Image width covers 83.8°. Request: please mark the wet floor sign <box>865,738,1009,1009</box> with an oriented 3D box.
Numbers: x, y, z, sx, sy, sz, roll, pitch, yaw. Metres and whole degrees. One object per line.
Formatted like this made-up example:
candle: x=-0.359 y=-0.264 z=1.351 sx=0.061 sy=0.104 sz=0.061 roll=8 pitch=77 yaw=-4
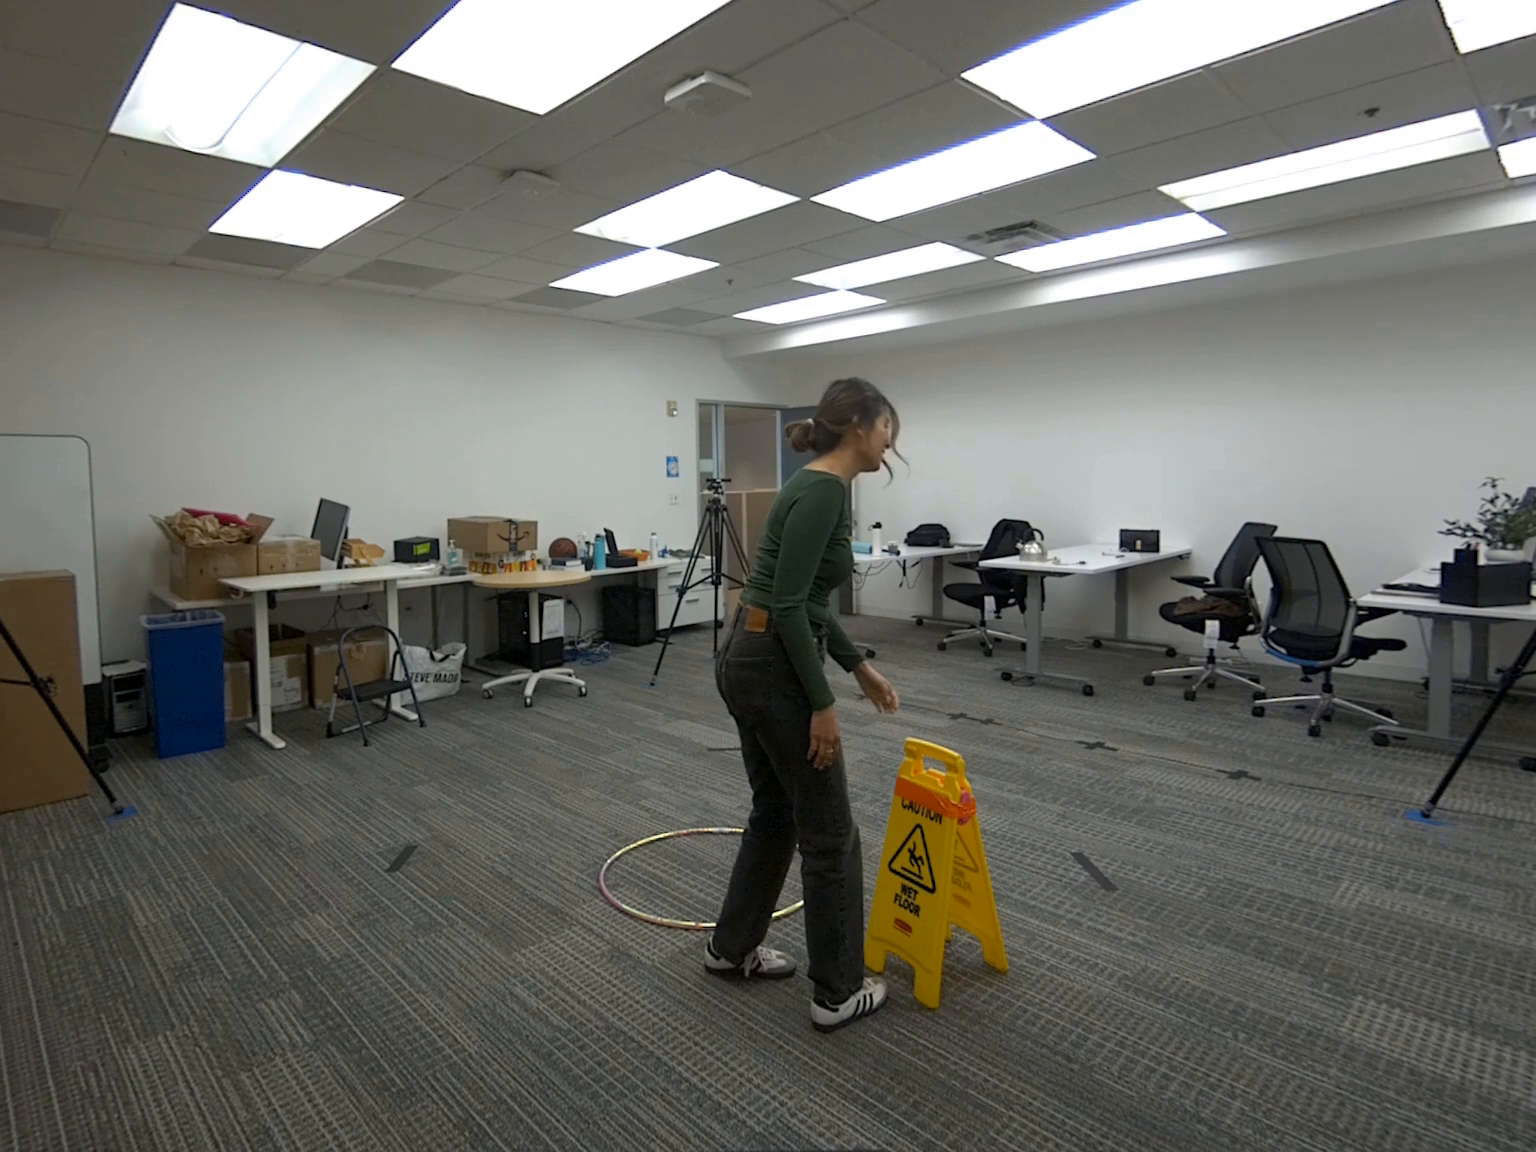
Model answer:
wet floor sign: x=0.469 y=0.793 z=2.408 sx=0.282 sy=0.644 sz=0.290 roll=-5 pitch=5 yaw=-36
